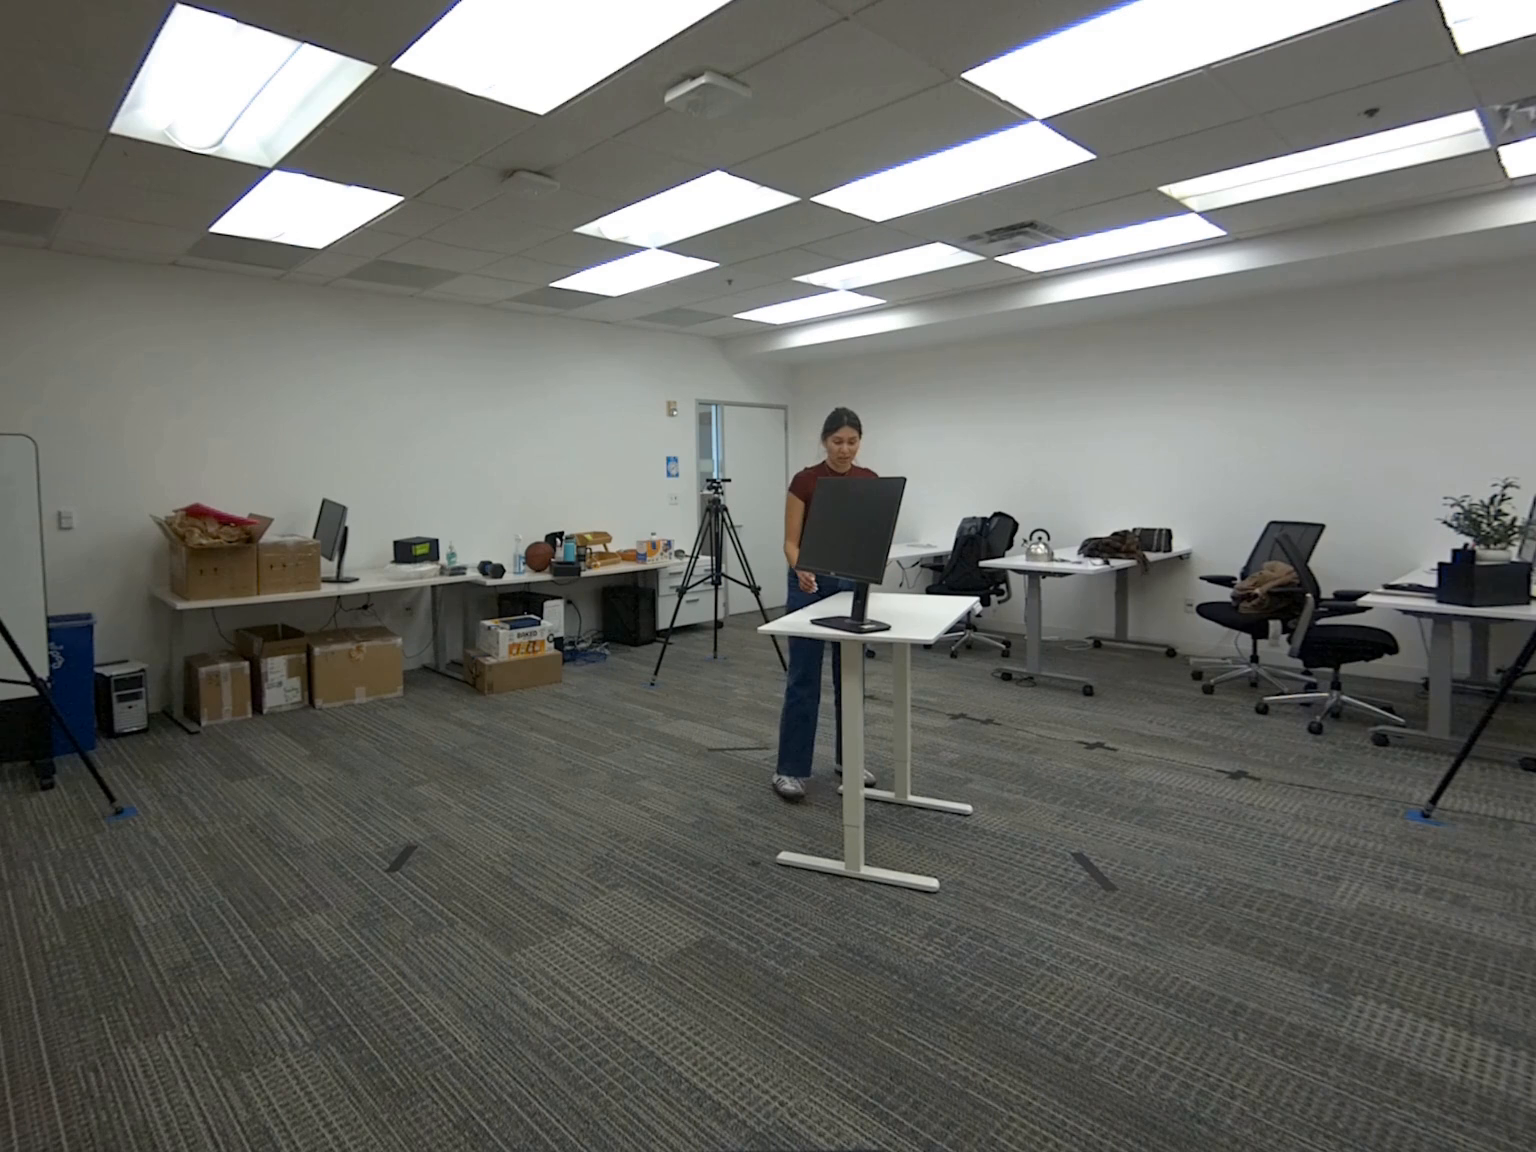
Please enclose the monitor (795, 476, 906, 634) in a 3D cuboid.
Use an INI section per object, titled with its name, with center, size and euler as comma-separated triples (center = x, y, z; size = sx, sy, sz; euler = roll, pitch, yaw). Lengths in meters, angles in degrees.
[monitor]
center = 0.293, -0.078, 2.952
size = 0.183, 0.521, 0.553
euler = 0, 4, -28
